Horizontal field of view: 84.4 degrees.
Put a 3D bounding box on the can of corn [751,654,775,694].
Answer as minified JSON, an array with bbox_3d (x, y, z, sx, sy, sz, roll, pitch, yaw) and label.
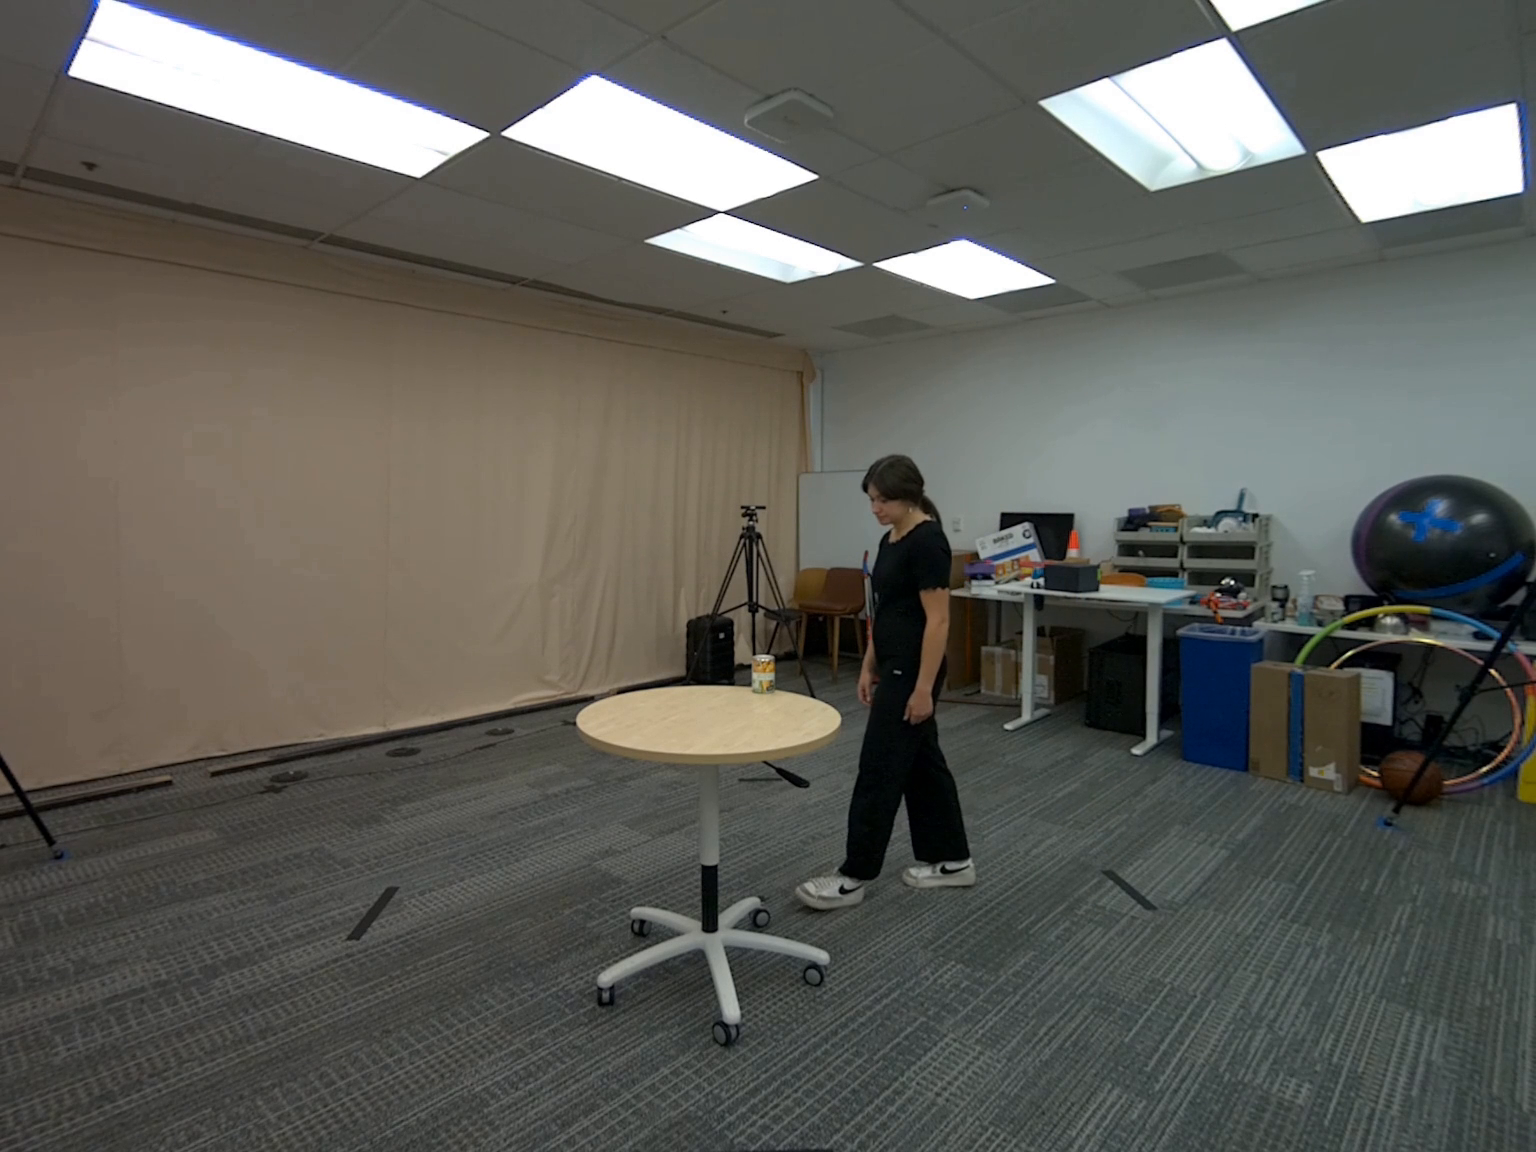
[{"bbox_3d":[-0.006,0.322,2.749,0.074,0.111,0.074,0,3,-2],"label":"can of corn"}]
